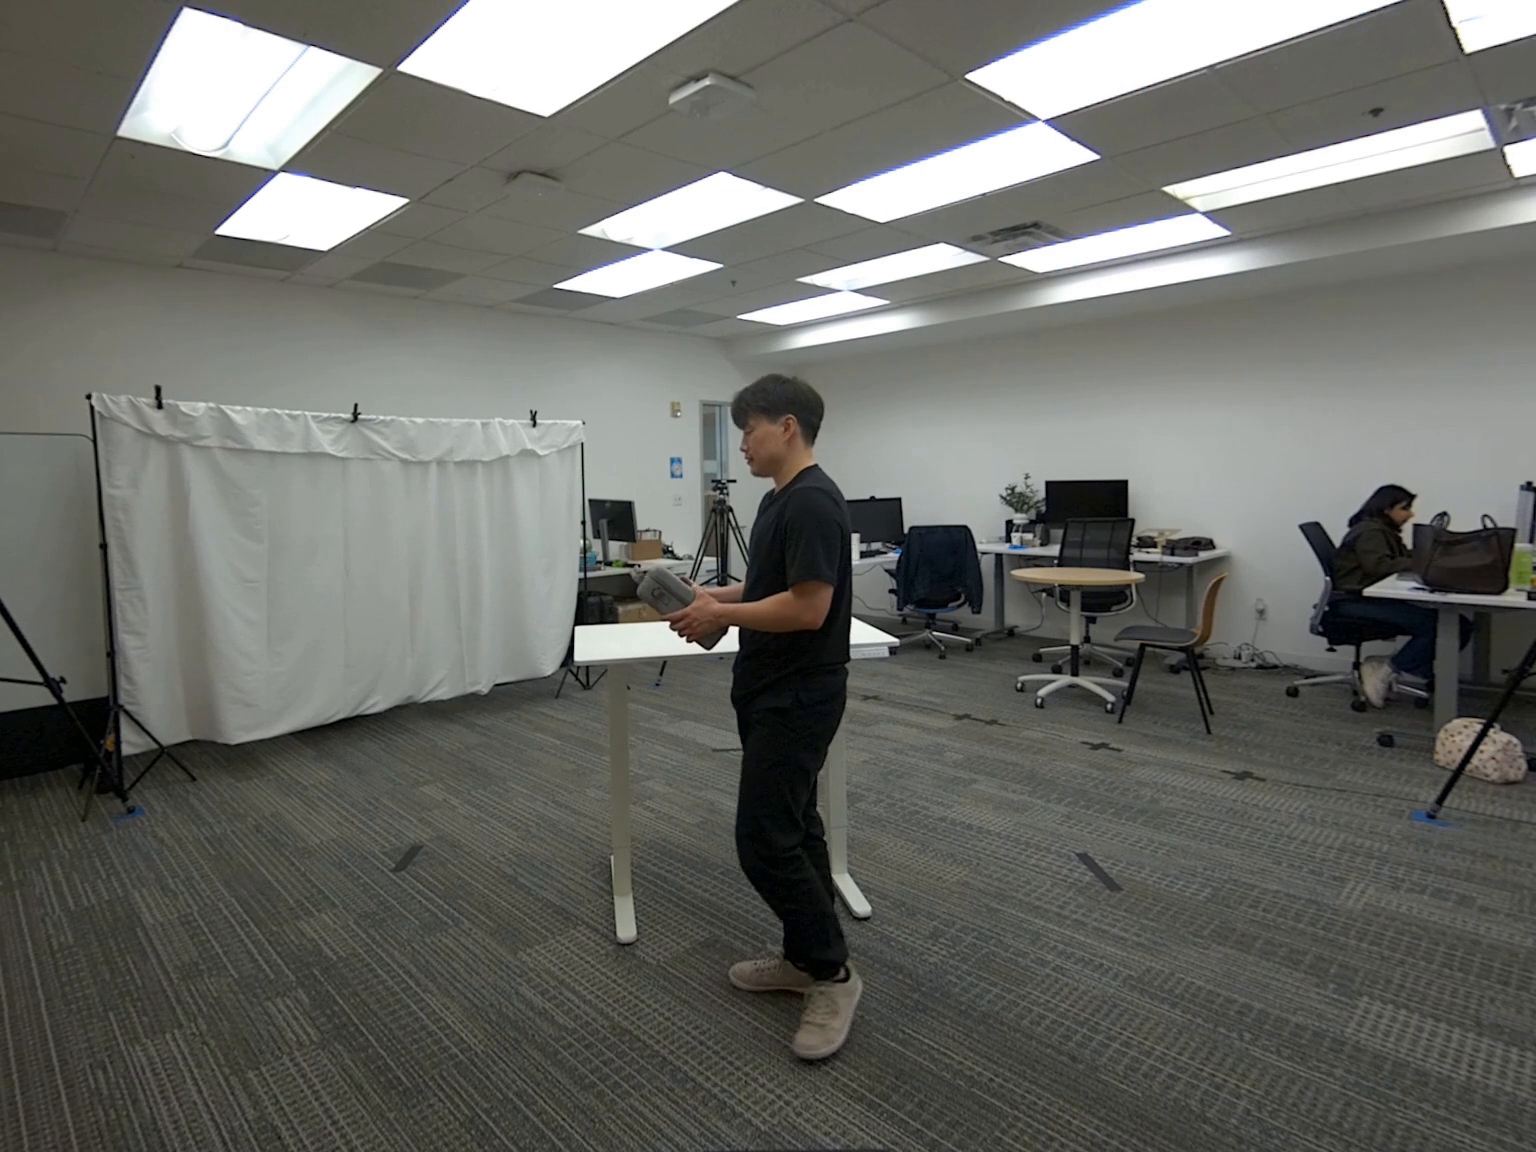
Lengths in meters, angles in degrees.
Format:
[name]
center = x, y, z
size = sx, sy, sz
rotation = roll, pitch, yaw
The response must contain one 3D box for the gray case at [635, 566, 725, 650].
[gray case]
center = -0.221, 0.078, 2.260
size = 0.261, 0.104, 0.257
rotation = 38, -3, -1
